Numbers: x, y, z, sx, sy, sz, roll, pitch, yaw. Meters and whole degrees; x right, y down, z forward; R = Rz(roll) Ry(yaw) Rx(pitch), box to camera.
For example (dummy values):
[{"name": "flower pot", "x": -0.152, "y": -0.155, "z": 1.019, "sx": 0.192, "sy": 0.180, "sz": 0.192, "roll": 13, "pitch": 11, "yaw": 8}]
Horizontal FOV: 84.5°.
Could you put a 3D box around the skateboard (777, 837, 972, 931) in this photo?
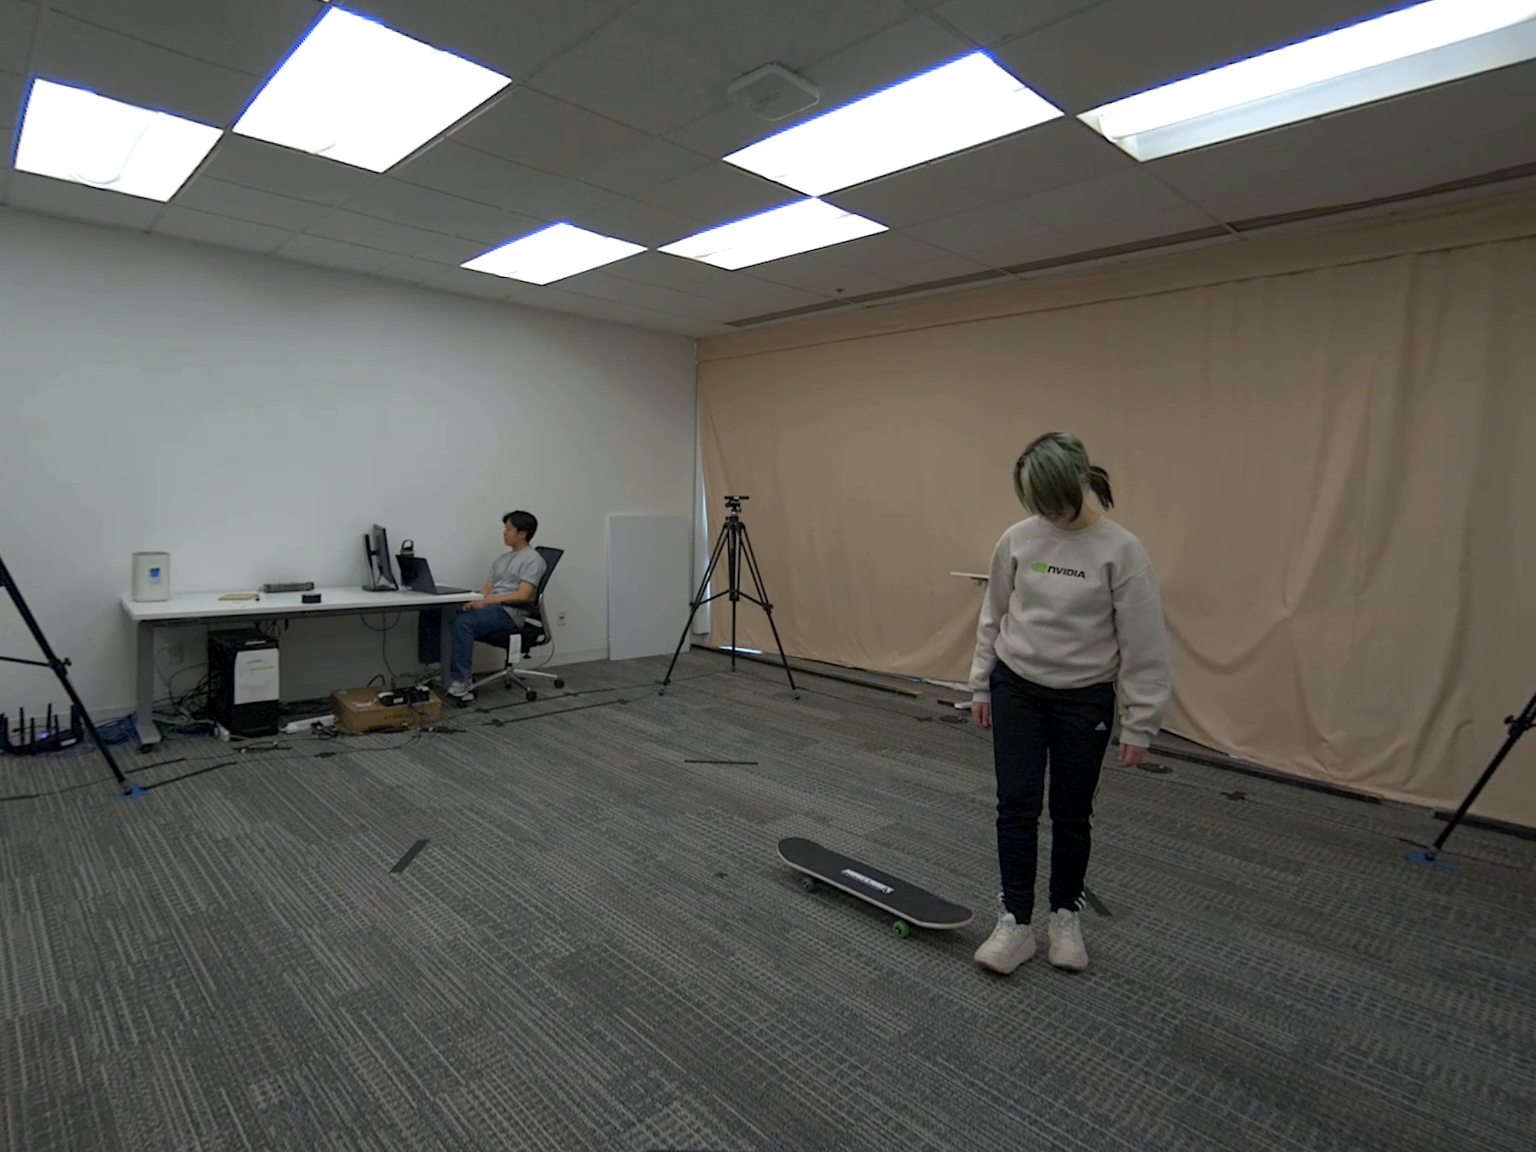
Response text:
[{"name": "skateboard", "x": 0.331, "y": 1.083, "z": 2.891, "sx": 0.189, "sy": 0.110, "sz": 0.806, "roll": -4, "pitch": 8, "yaw": -43}]
